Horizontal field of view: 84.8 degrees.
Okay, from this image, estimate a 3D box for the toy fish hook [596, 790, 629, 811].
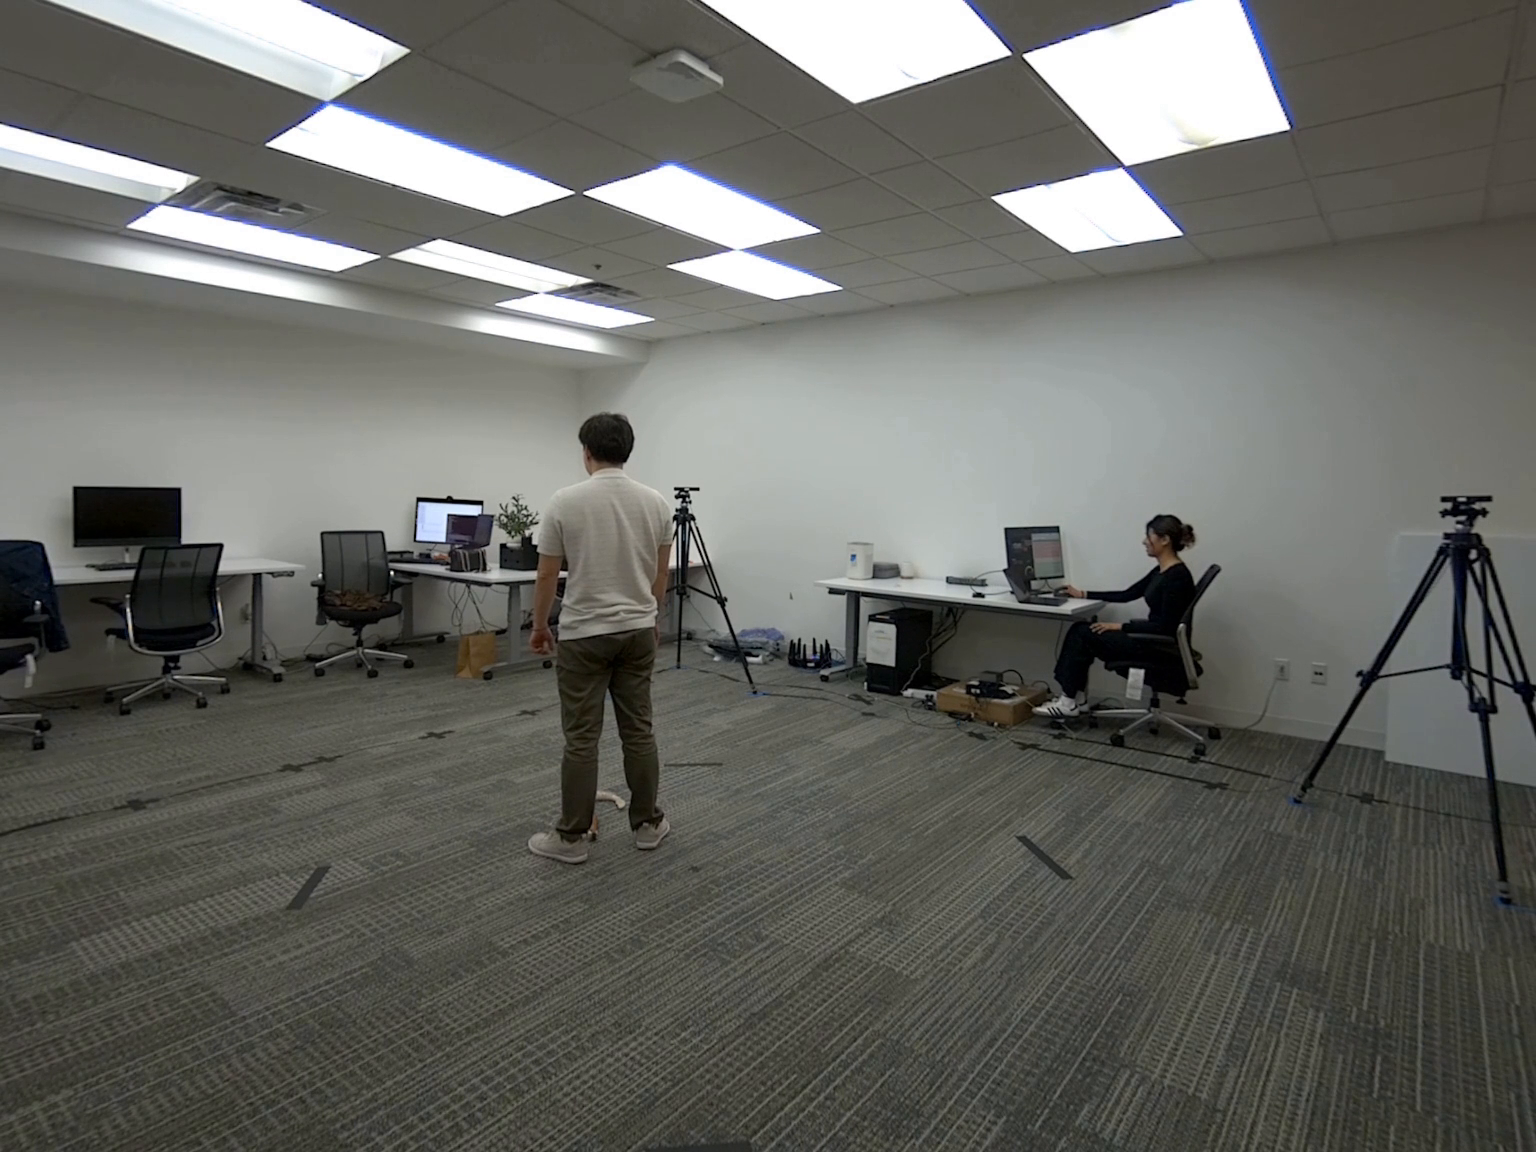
[{"bbox_3d":[-0.708,0.986,3.571,0.221,0.048,0.516,-2,7,-14],"label":"toy fish hook"}]
